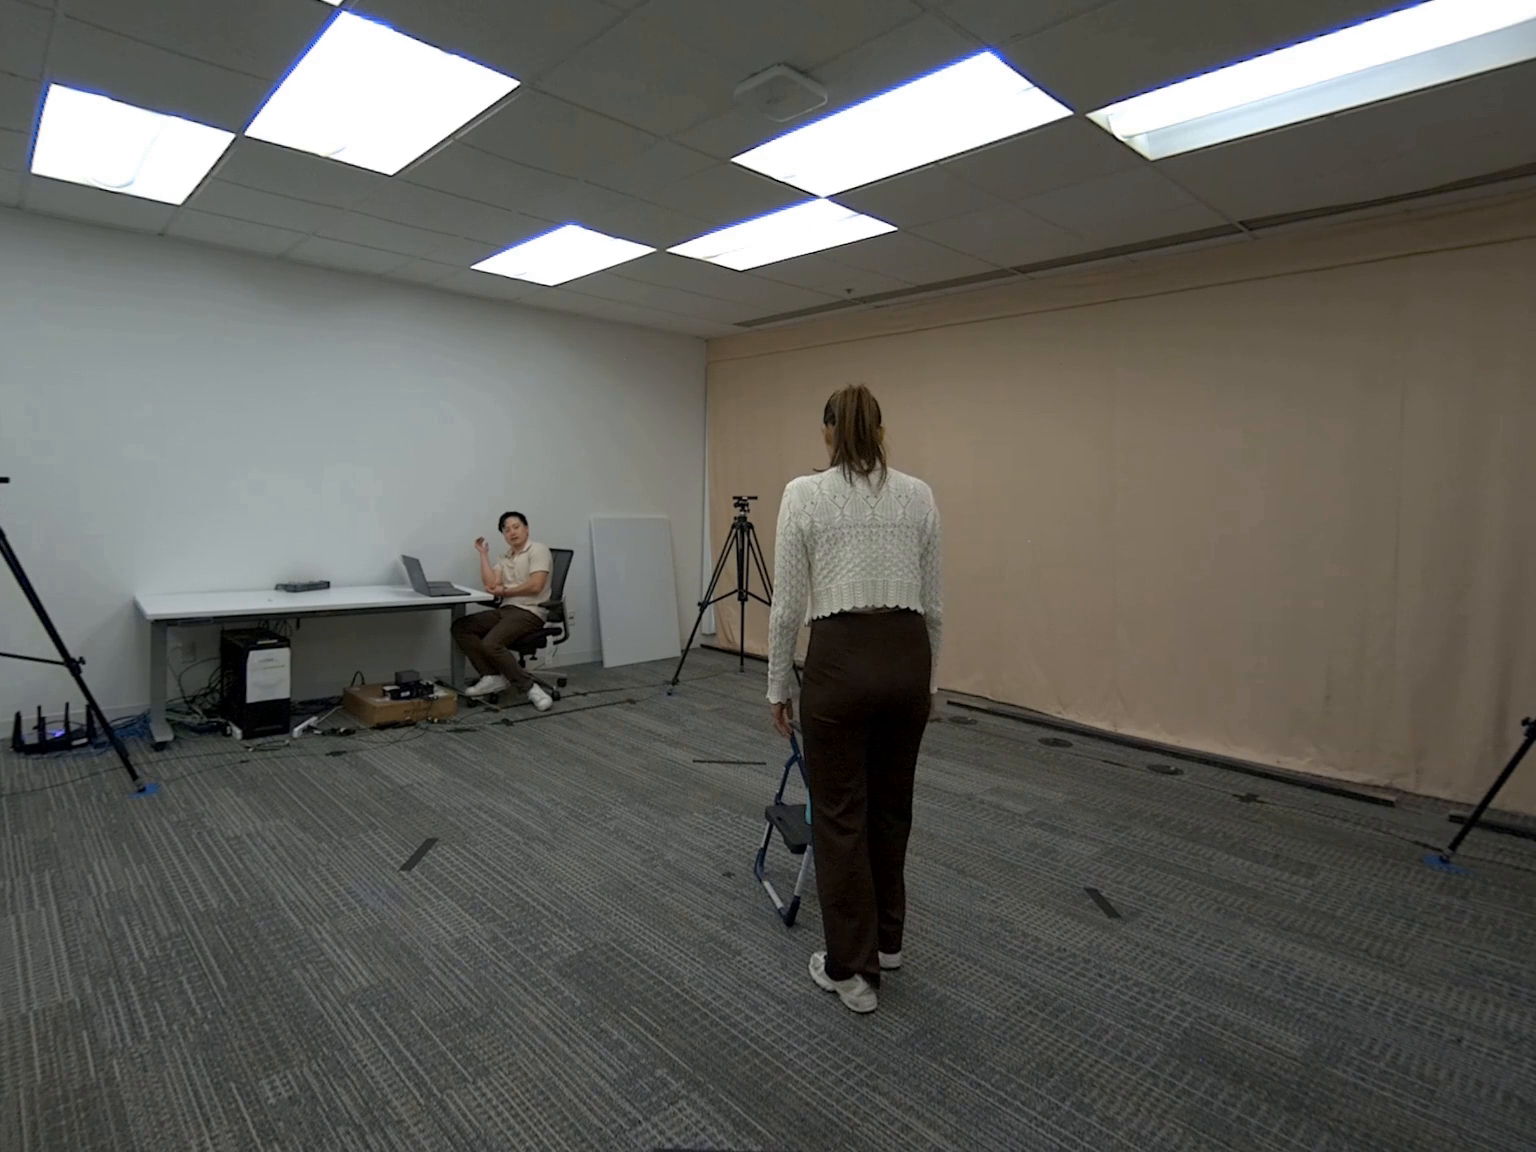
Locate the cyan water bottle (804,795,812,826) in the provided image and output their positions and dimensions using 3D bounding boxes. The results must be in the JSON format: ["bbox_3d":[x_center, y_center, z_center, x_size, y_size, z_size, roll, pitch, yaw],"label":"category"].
[{"bbox_3d":[0.186,0.728,2.935,0.092,0.283,0.092,4,4,-2],"label":"cyan water bottle"}]
